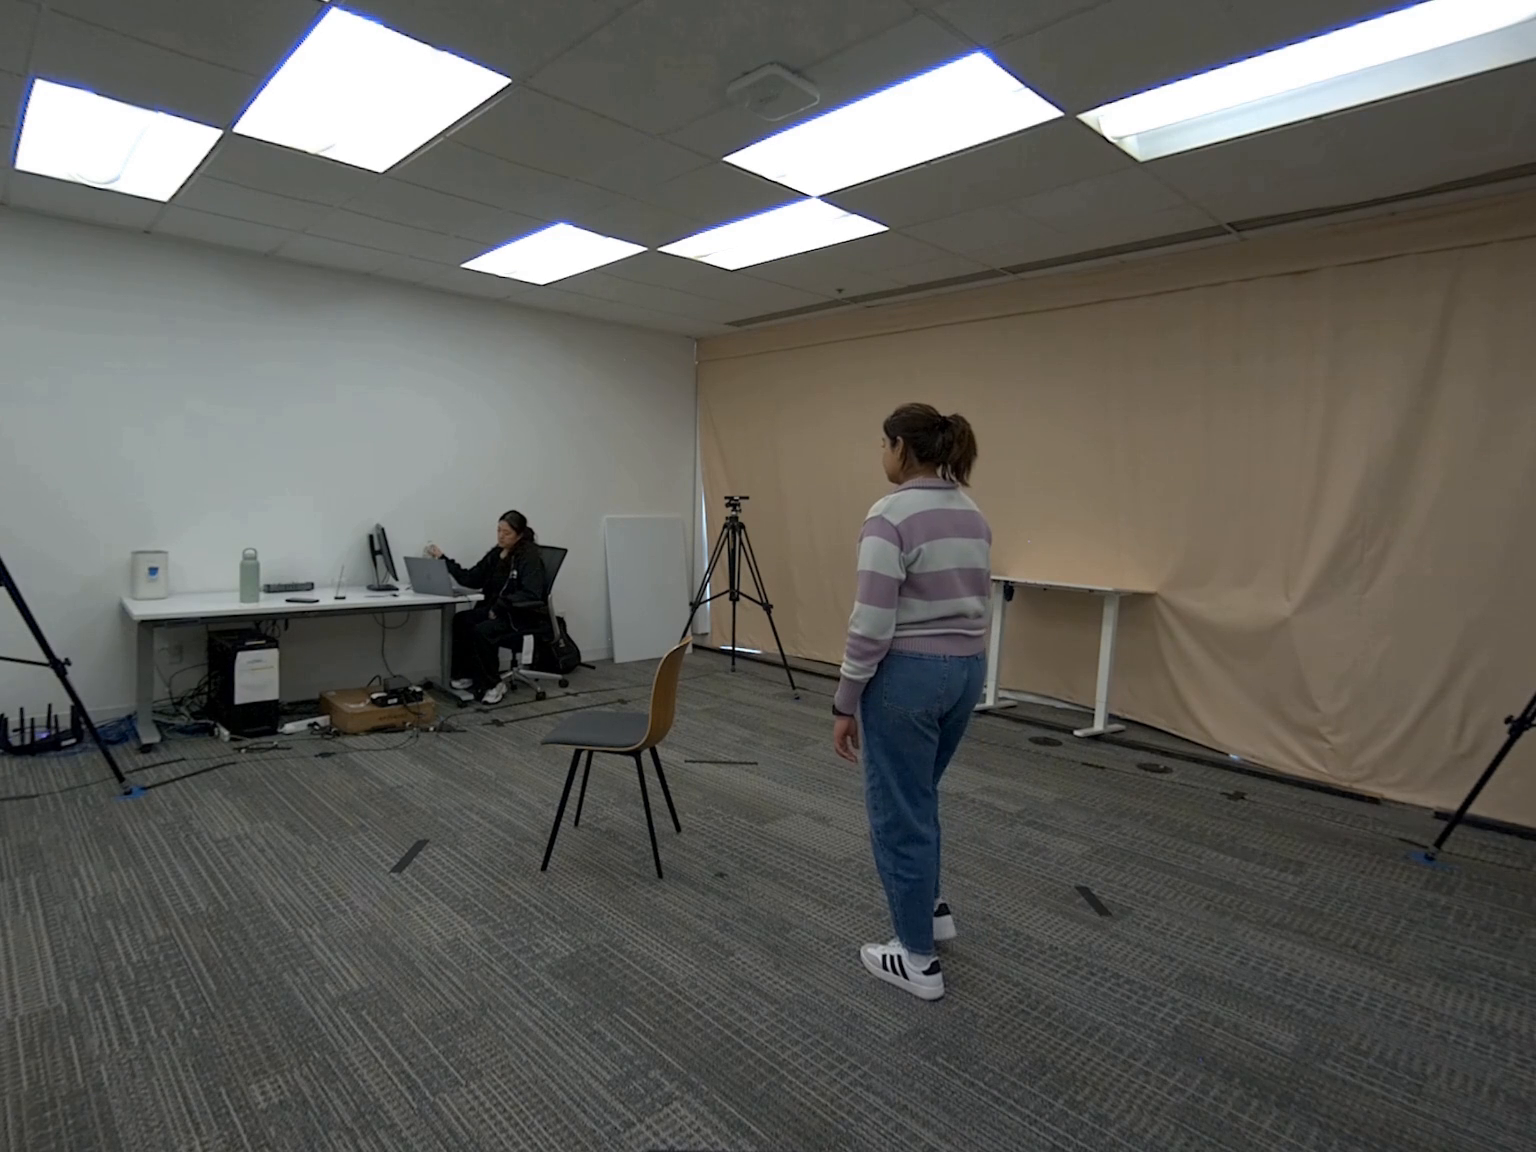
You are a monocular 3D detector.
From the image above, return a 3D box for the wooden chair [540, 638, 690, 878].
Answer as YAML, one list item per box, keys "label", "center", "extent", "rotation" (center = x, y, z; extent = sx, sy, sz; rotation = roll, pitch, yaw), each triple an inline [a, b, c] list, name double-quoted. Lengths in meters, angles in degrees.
- label: "wooden chair"
  center: [-0.599, 0.650, 3.263]
  extent: [0.525, 0.875, 0.478]
  rotation: [6, 4, 3]
